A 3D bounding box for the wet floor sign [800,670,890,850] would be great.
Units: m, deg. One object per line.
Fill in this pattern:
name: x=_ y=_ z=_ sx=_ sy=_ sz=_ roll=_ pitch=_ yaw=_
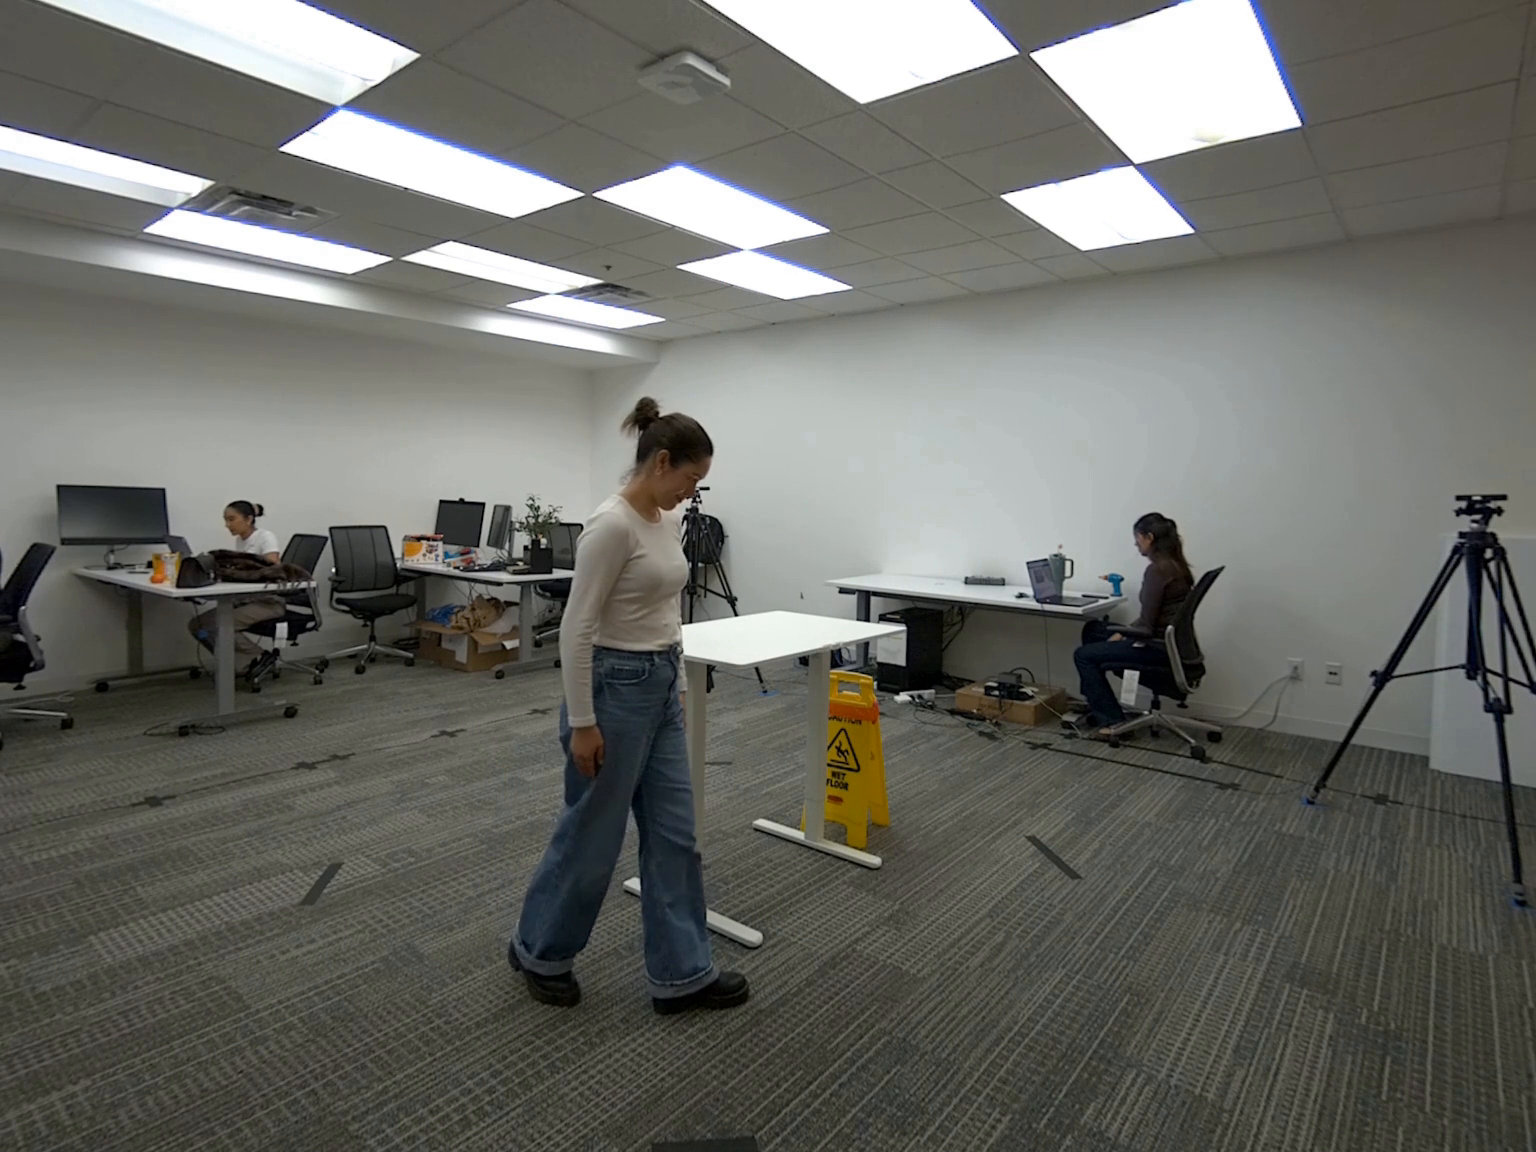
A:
wet floor sign: x=0.323 y=0.716 z=3.478 sx=0.291 sy=0.644 sz=0.282 roll=4 pitch=3 yaw=30
